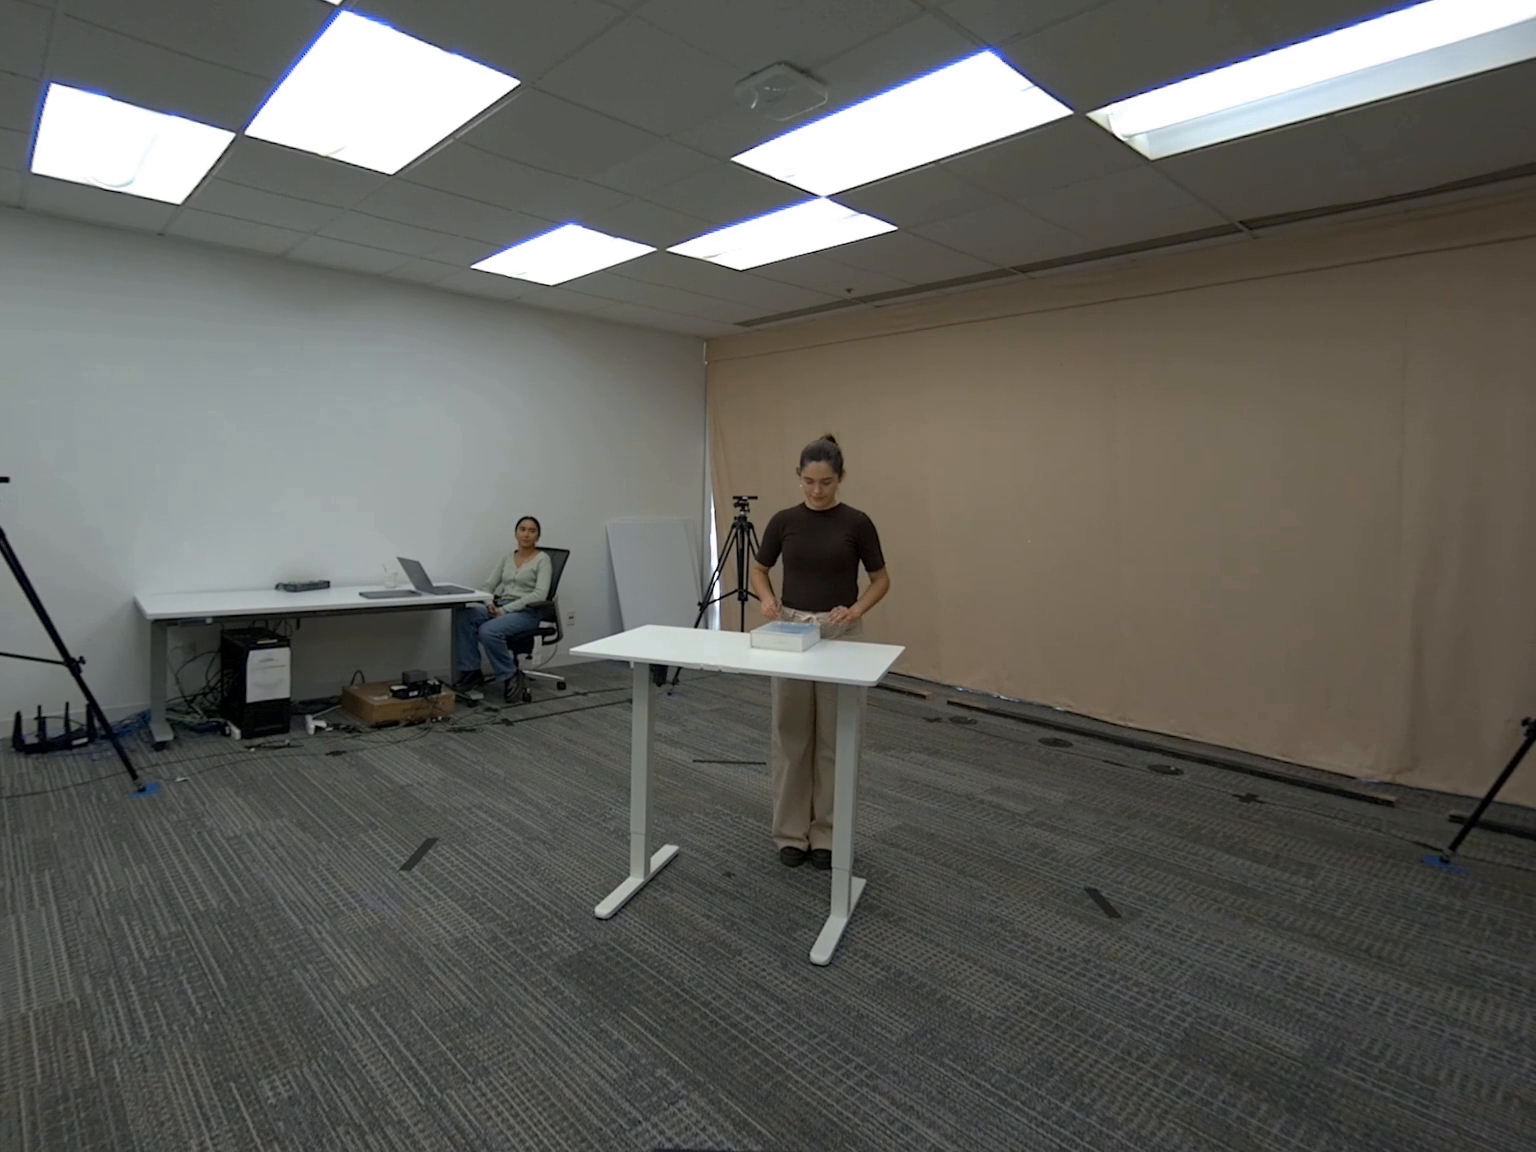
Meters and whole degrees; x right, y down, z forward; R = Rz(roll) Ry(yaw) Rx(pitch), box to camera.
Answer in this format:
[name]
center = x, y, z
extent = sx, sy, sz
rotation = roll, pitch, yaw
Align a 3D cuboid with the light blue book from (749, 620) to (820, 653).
[light blue book]
center = 0.066, 0.211, 2.951
extent = 0.194, 0.059, 0.258
rotation = 4, 5, 17
